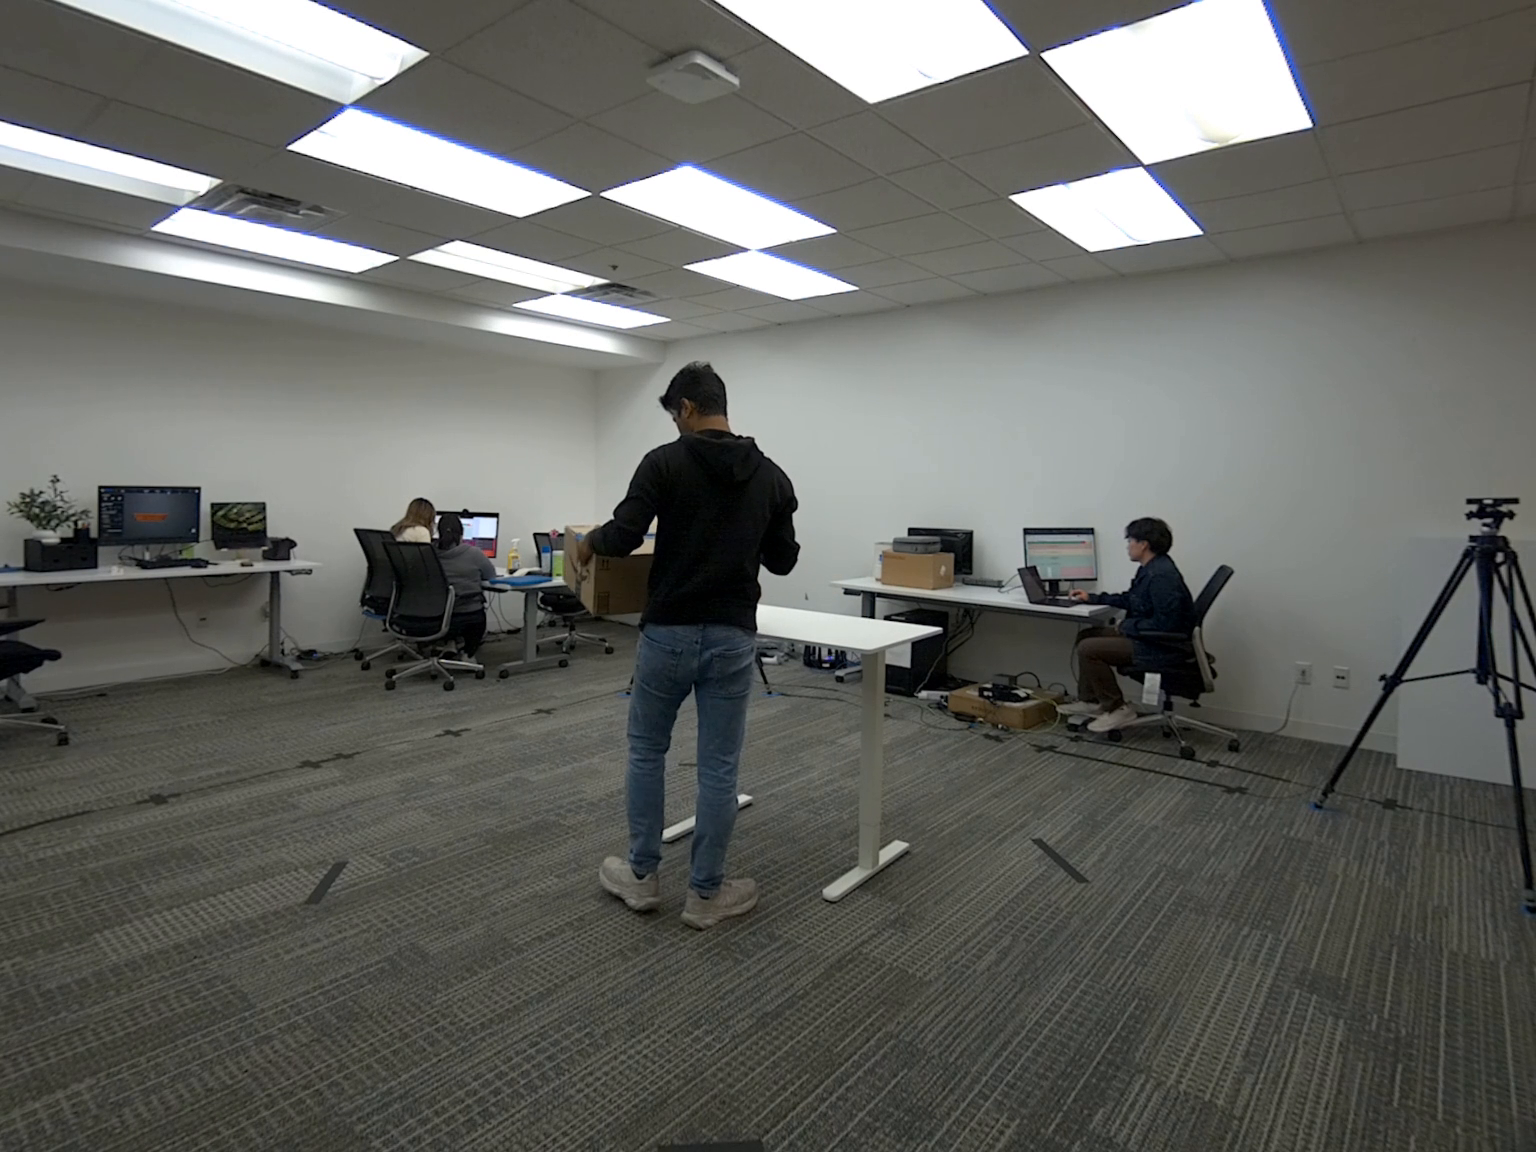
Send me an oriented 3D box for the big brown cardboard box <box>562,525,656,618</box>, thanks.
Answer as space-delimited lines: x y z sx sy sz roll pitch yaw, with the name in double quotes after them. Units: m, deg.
-0.432 -0.041 3.114 0.575 0.230 0.433 -3 17 -27 "big brown cardboard box"
